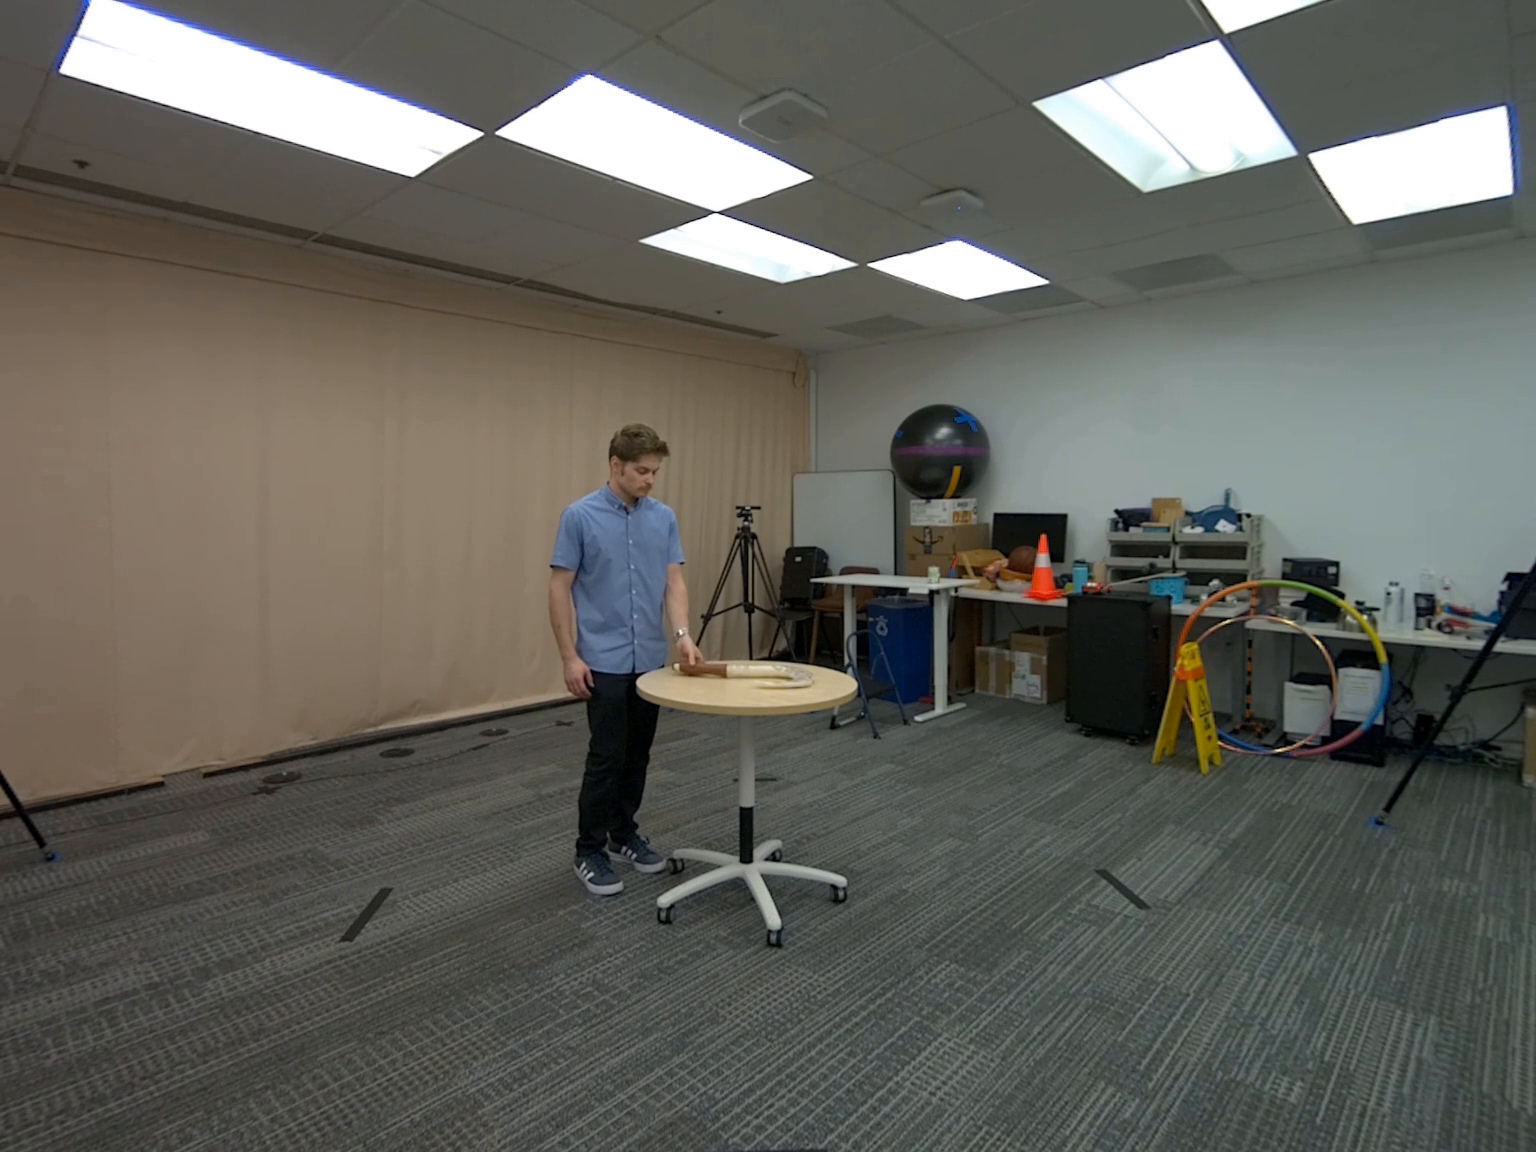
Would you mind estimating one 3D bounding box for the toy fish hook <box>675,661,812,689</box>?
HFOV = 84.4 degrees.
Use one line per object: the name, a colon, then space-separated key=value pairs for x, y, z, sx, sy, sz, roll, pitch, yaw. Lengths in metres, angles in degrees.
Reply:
toy fish hook: x=-0.090 y=0.337 z=2.919 sx=0.511 sy=0.048 sz=0.223 roll=3 pitch=2 yaw=8
